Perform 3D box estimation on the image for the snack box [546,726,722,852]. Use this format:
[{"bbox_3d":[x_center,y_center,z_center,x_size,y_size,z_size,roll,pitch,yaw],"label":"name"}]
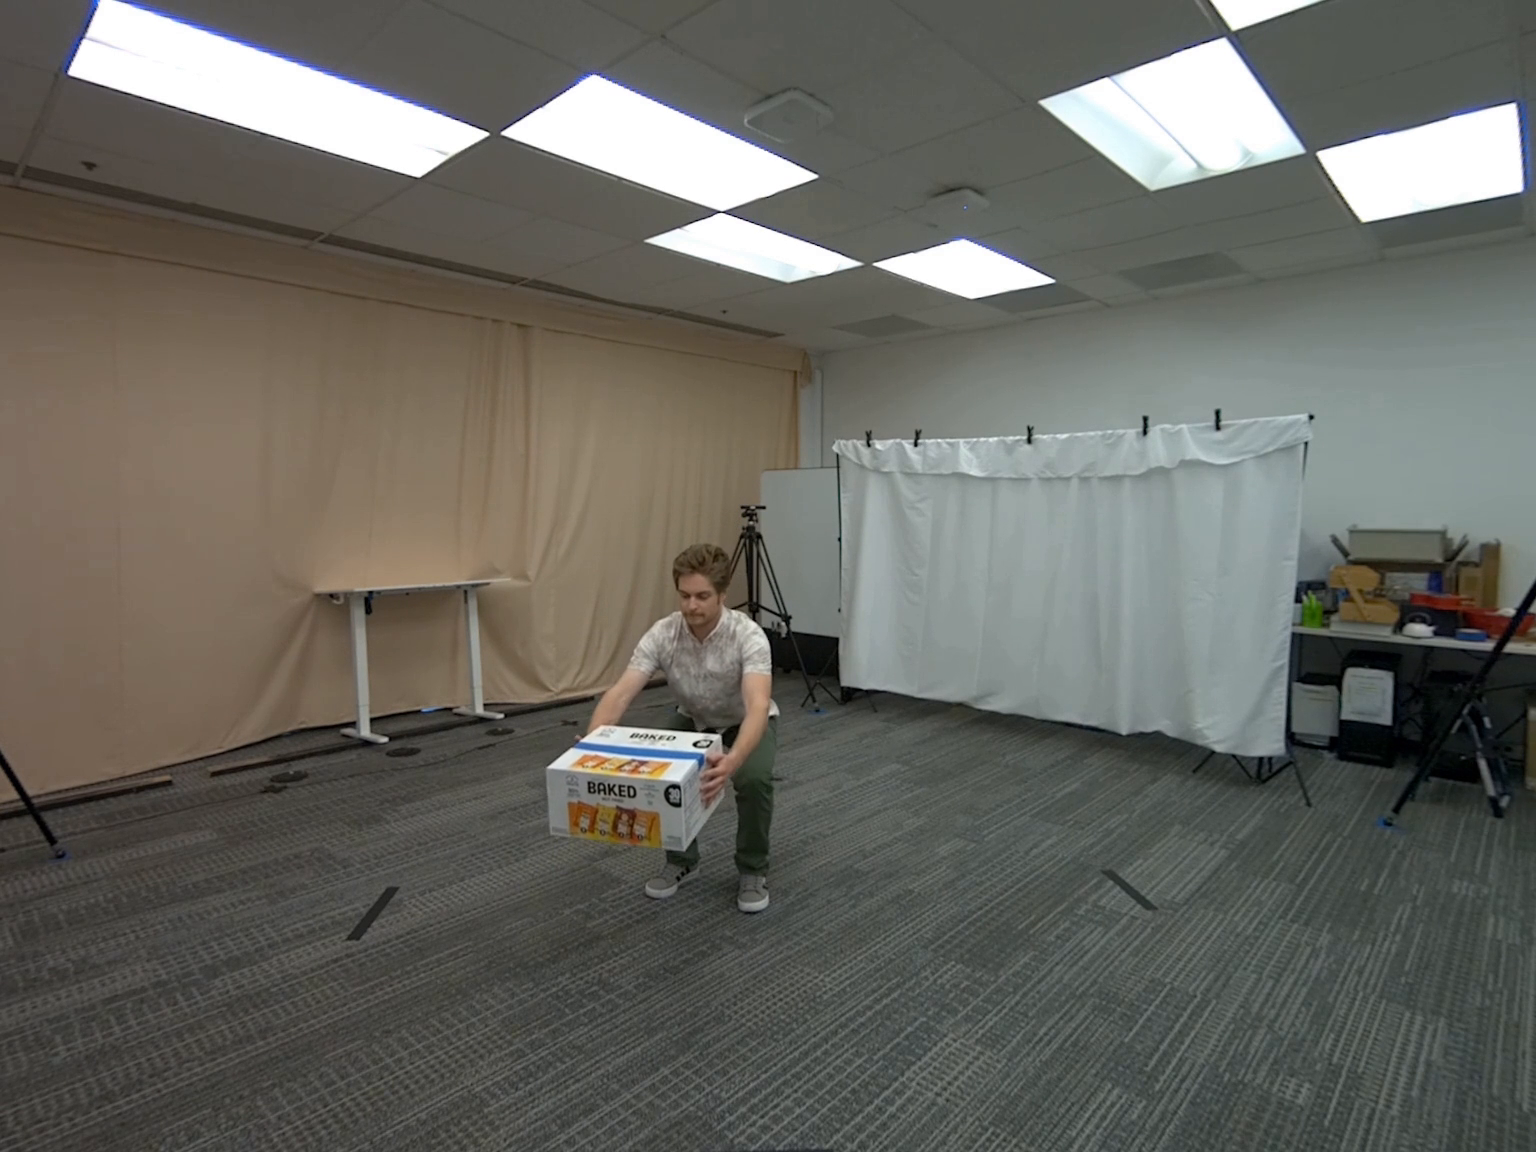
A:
[{"bbox_3d":[-0.375,0.599,2.445,0.413,0.204,0.336,1,10,17],"label":"snack box"}]
